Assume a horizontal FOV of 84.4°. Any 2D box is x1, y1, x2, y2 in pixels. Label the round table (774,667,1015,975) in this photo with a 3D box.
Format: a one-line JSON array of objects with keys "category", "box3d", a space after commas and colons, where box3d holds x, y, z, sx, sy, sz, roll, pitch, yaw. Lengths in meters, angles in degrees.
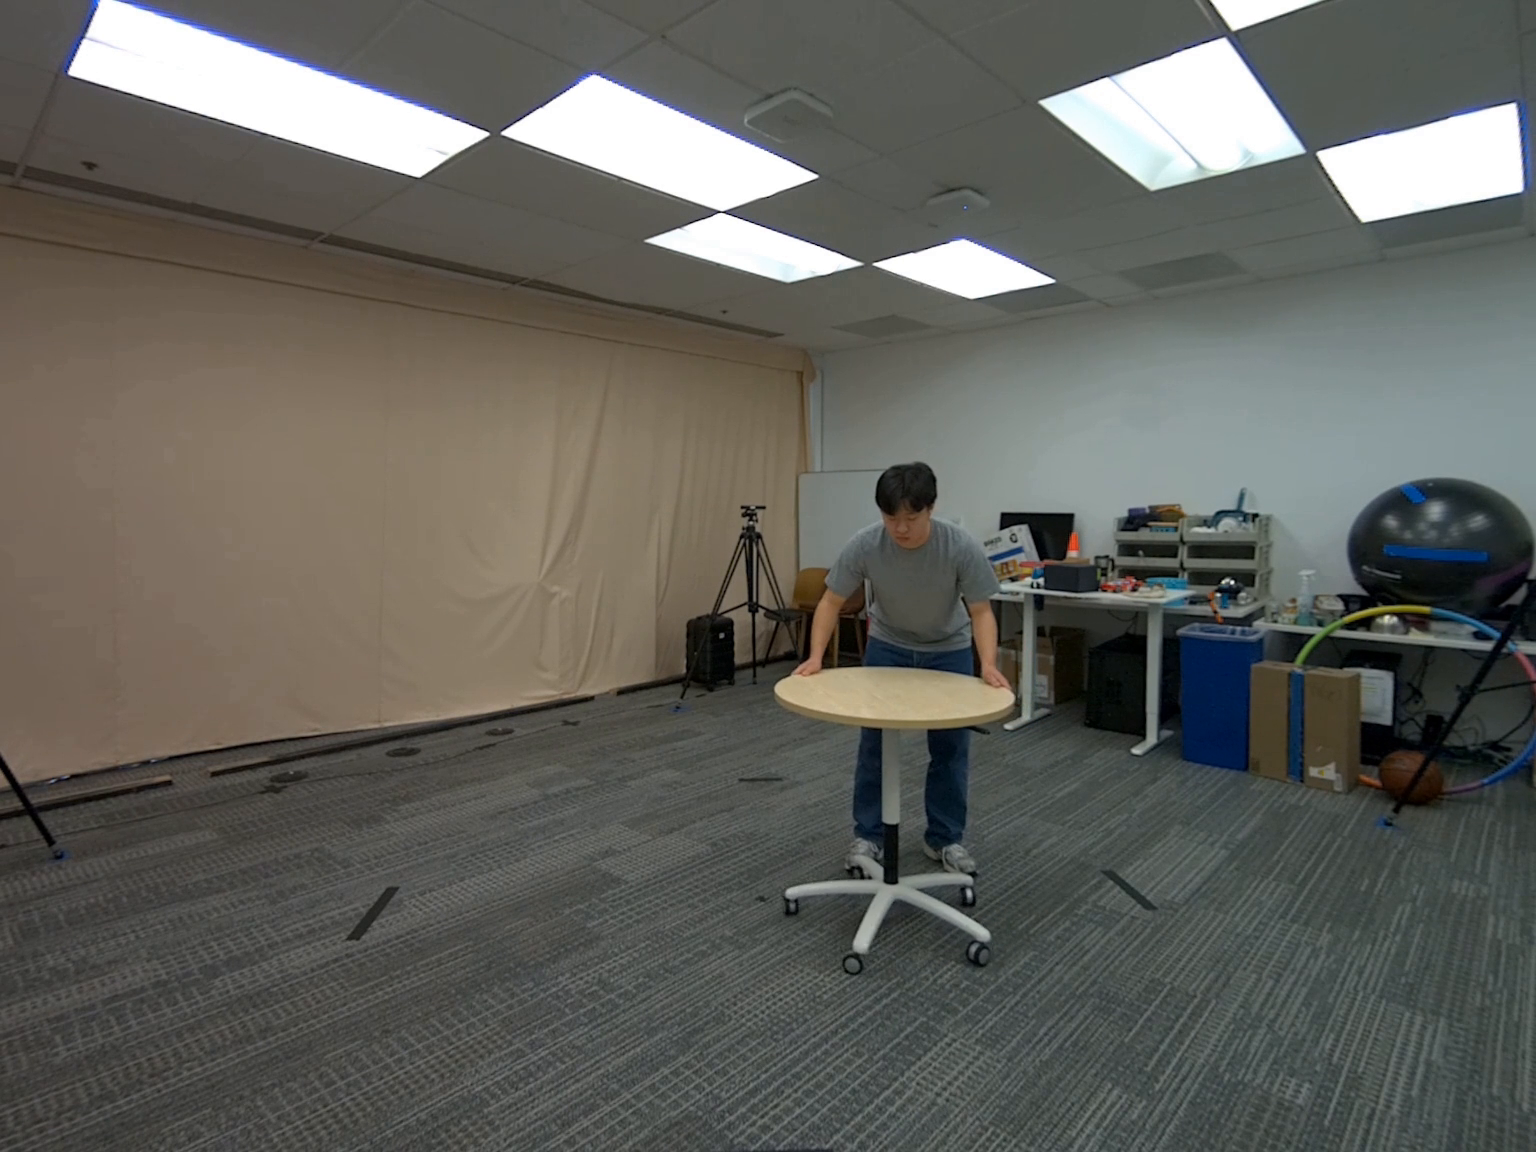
[{"category": "round table", "box3d": [0.413, 0.770, 2.773, 0.763, 0.792, 0.767, 0, 4, -2]}]
